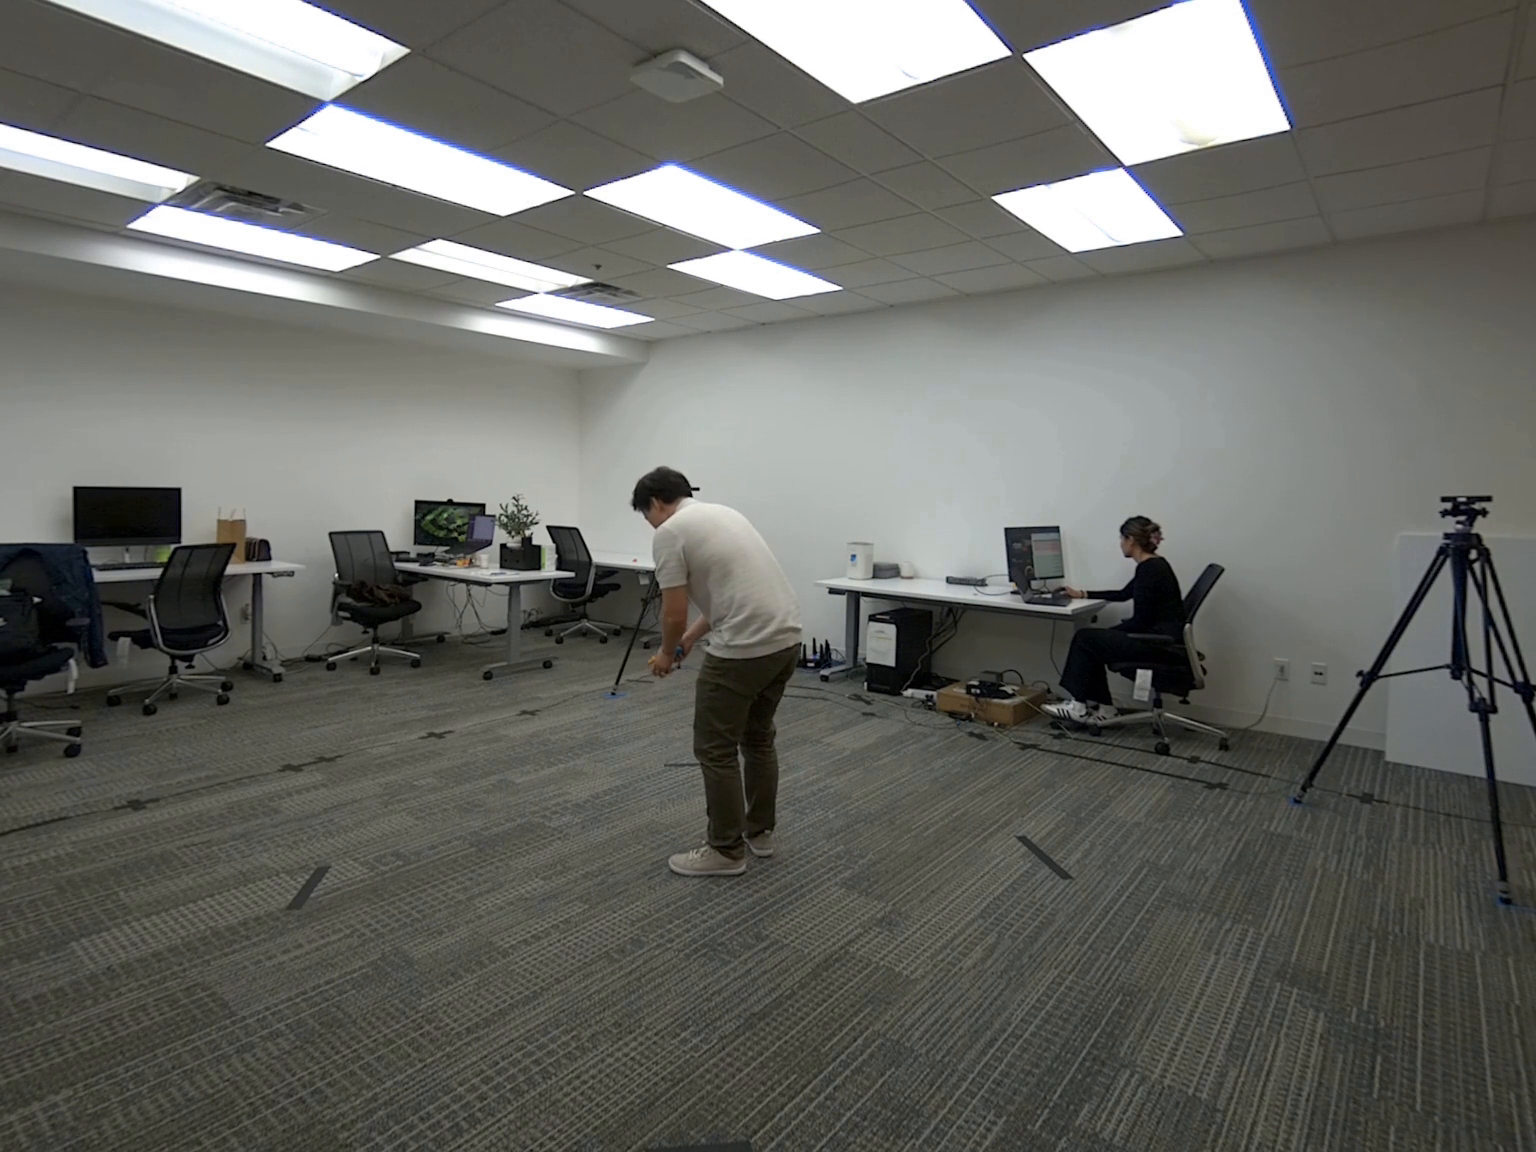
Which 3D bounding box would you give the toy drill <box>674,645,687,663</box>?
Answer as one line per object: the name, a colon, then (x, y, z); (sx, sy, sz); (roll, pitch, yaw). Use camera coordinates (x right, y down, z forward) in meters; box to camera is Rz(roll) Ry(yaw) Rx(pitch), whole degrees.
toy drill: (-0.353, 0.269, 3.380); (0.060, 0.169, 0.148); (12, 4, -12)
